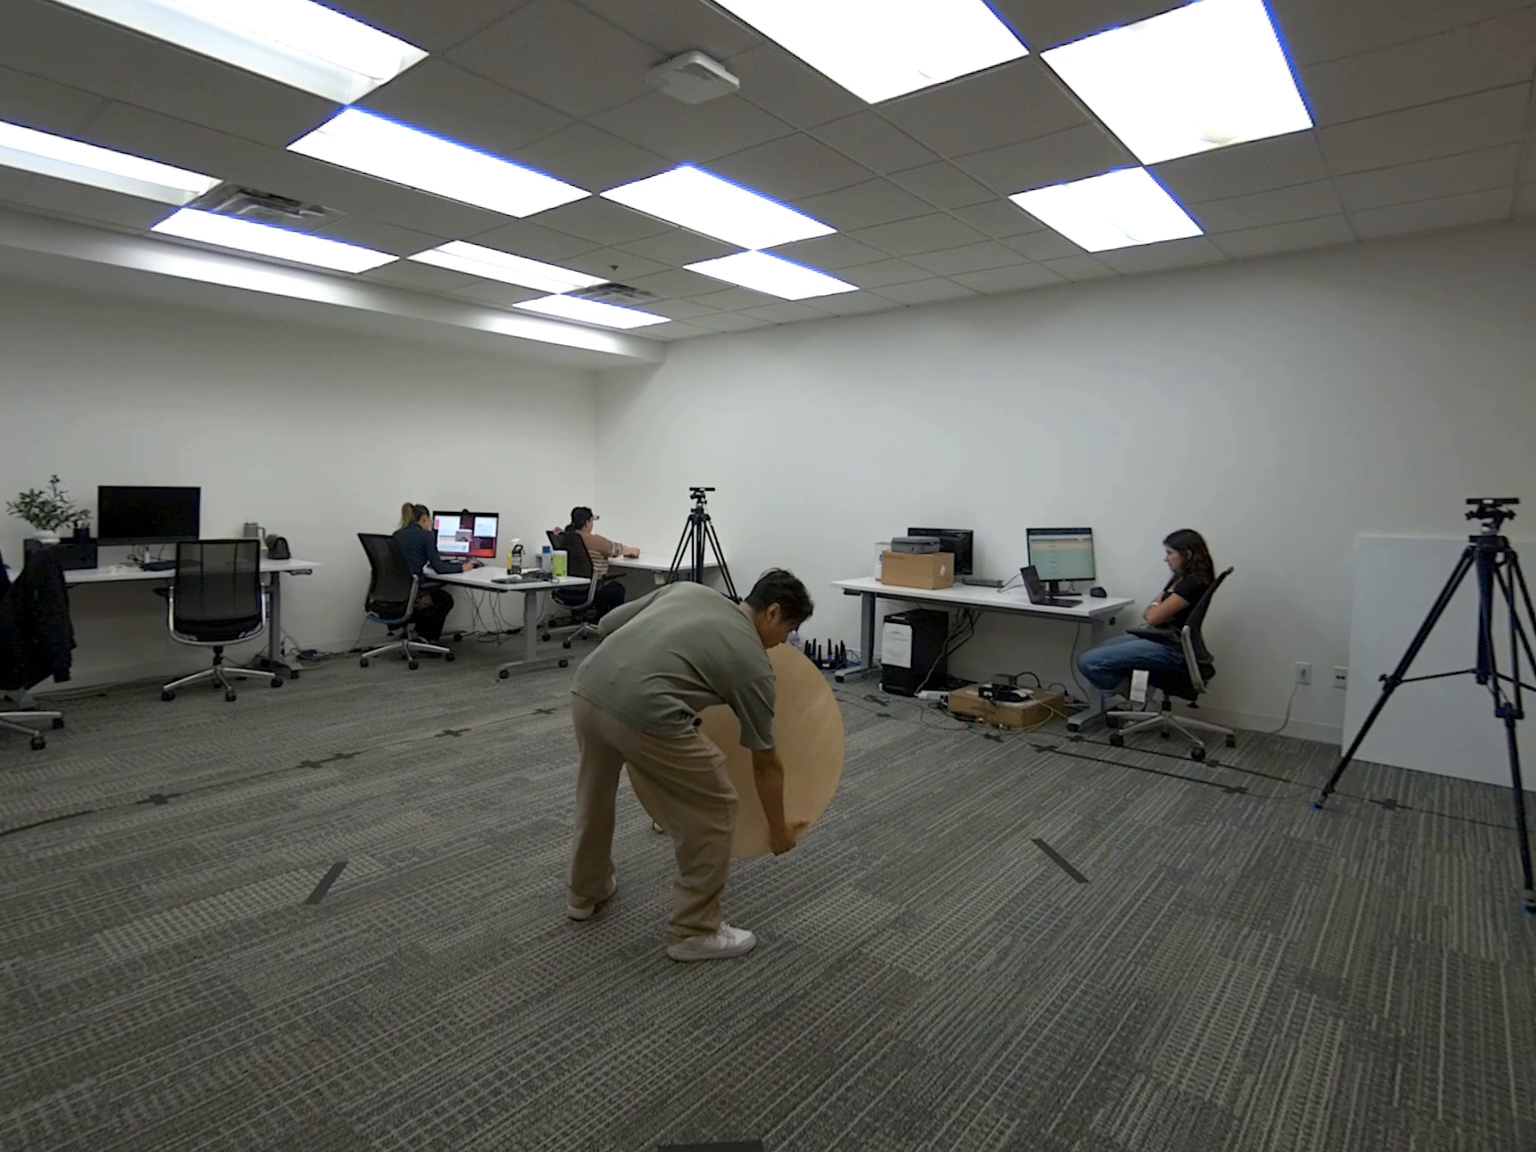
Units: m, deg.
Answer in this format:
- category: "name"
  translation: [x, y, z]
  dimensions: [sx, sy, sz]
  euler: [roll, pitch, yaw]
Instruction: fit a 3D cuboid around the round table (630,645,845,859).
- category: "round table"
  translation: [-0.194, 0.641, 3.261]
  dimensions: [0.777, 0.799, 0.781]
  euler: [0, -17, -11]
